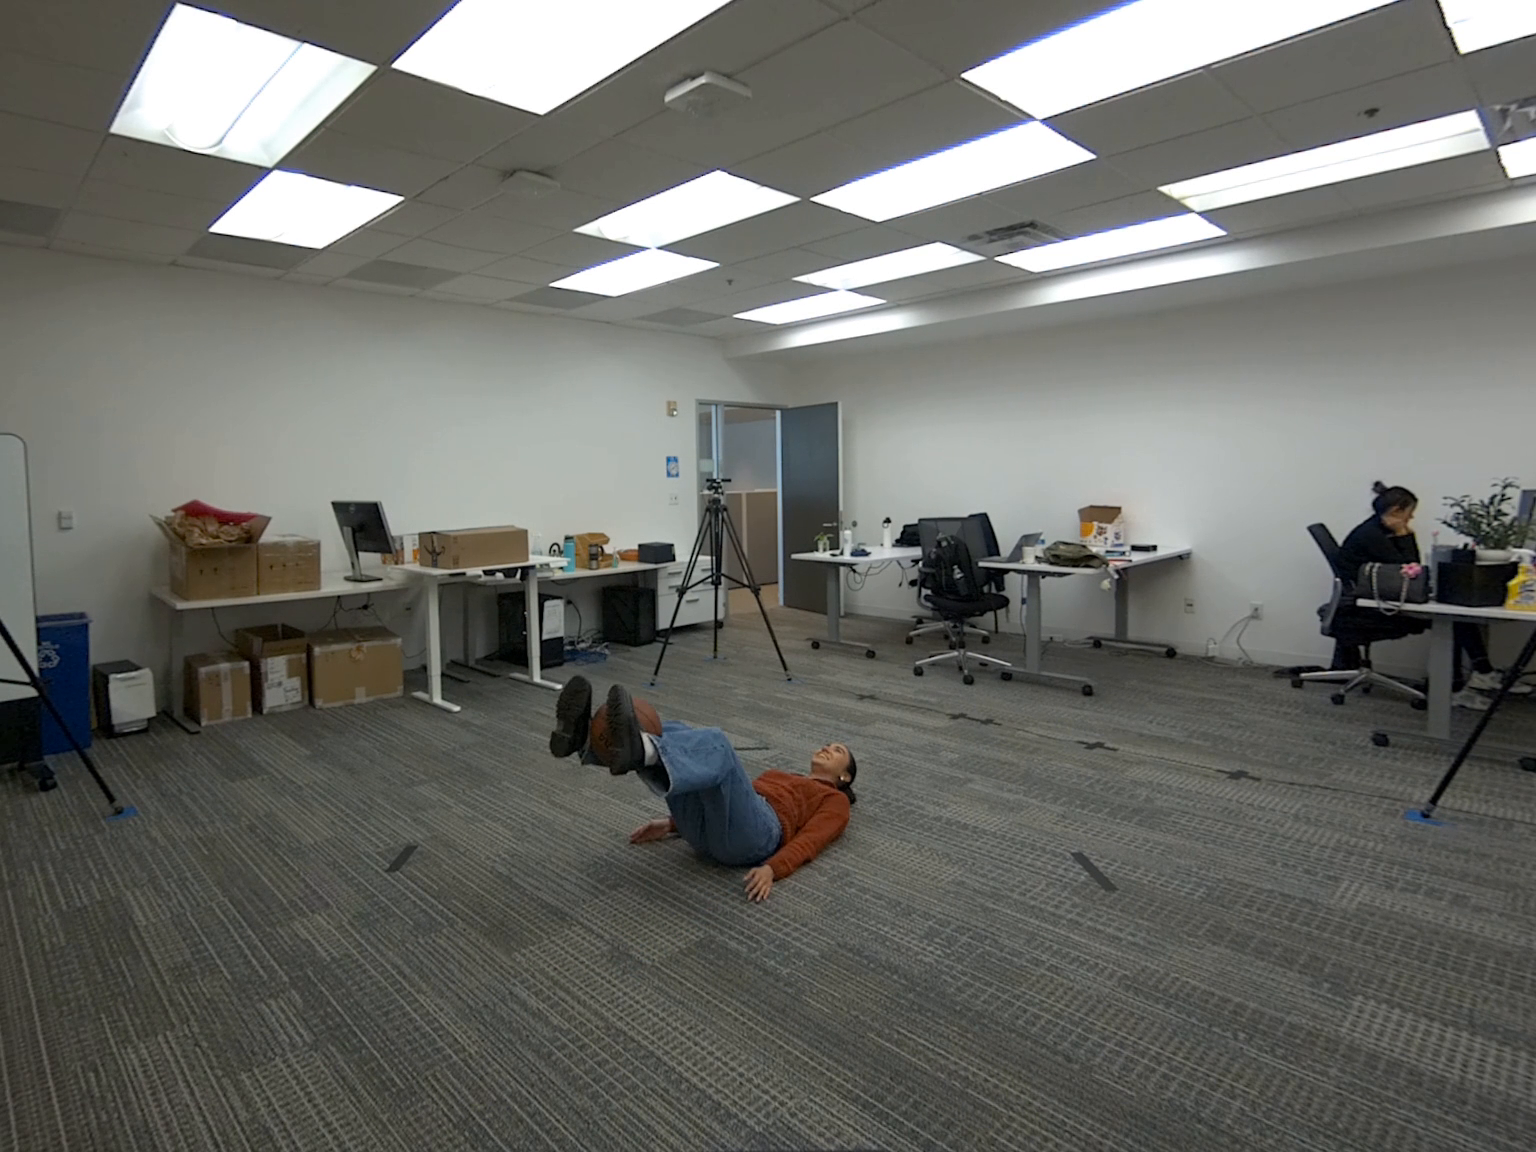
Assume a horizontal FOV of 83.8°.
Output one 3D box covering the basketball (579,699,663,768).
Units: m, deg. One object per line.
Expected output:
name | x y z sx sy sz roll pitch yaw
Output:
basketball | -0.462 0.511 2.794 0.236 0.235 0.237 -1 5 -2
